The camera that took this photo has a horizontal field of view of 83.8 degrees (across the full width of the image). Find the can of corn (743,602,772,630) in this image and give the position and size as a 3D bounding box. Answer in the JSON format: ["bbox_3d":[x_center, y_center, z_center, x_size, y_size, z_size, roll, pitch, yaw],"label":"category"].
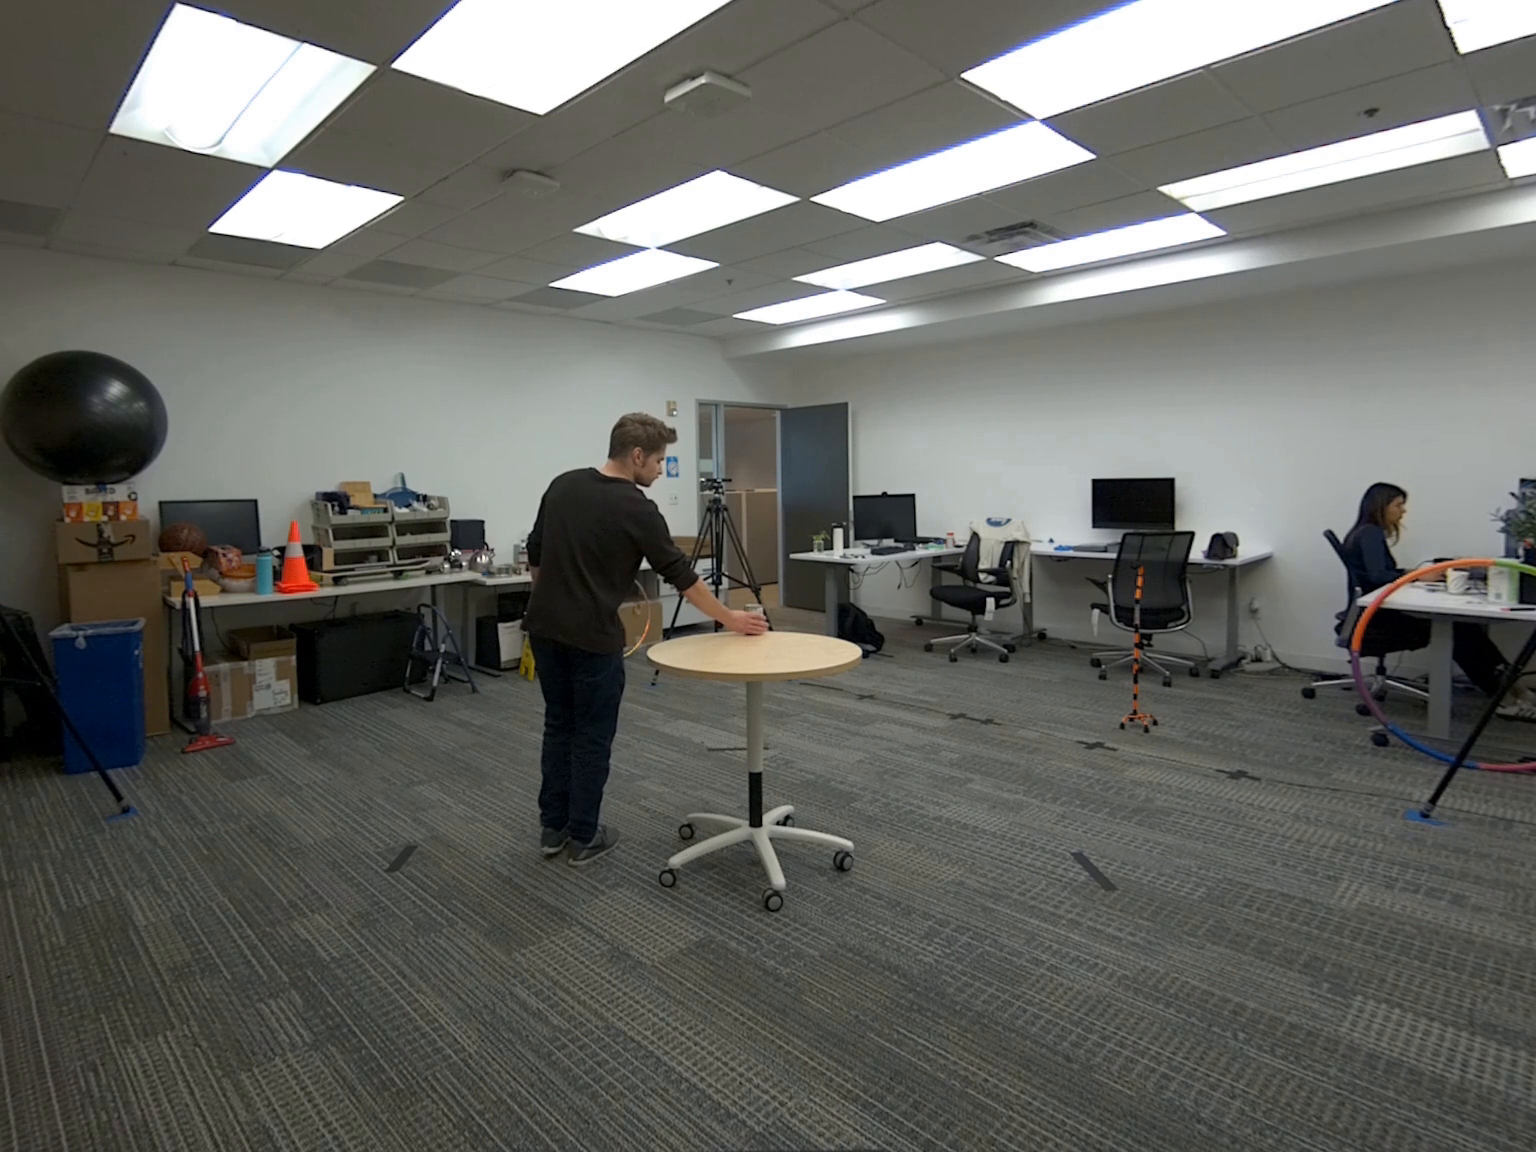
[{"bbox_3d":[-0.059,0.170,3.396,0.074,0.111,0.074,-3,3,-1],"label":"can of corn"}]
